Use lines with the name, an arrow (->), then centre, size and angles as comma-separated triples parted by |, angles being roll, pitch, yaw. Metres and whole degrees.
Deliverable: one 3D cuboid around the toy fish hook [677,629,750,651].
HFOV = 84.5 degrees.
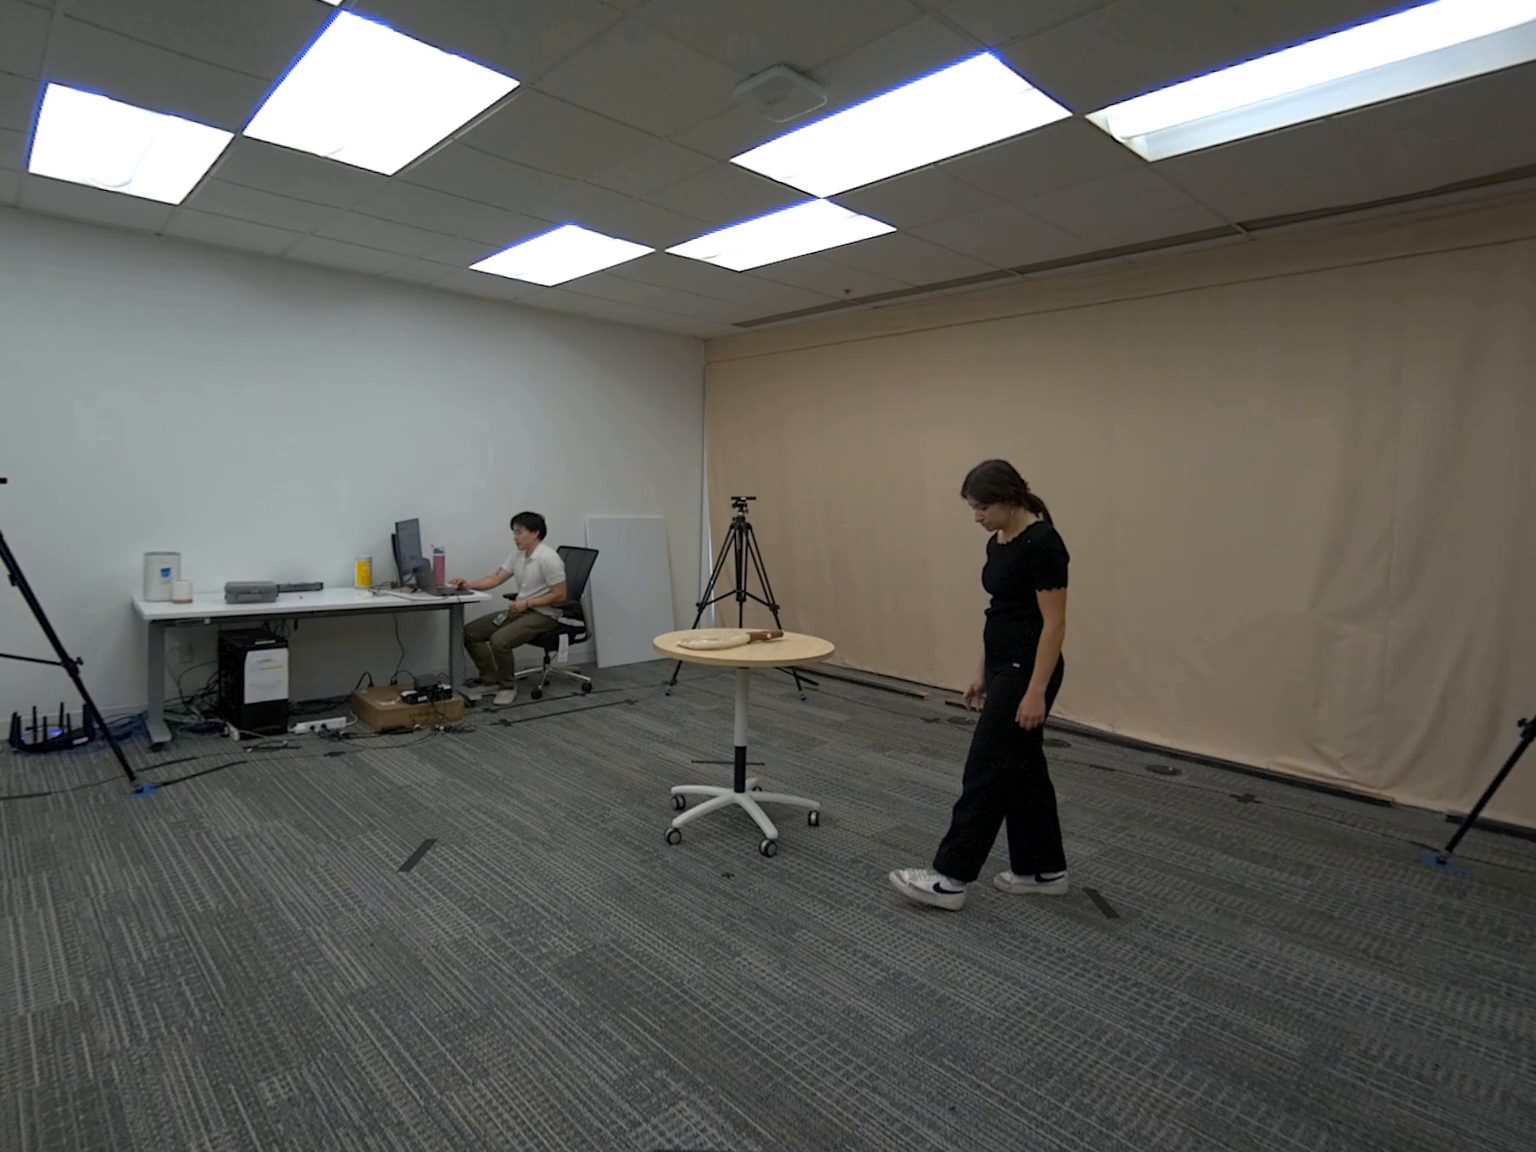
toy fish hook -> -0.166, 0.260, 3.549 | 0.495, 0.048, 0.231 | -4, 11, -38
